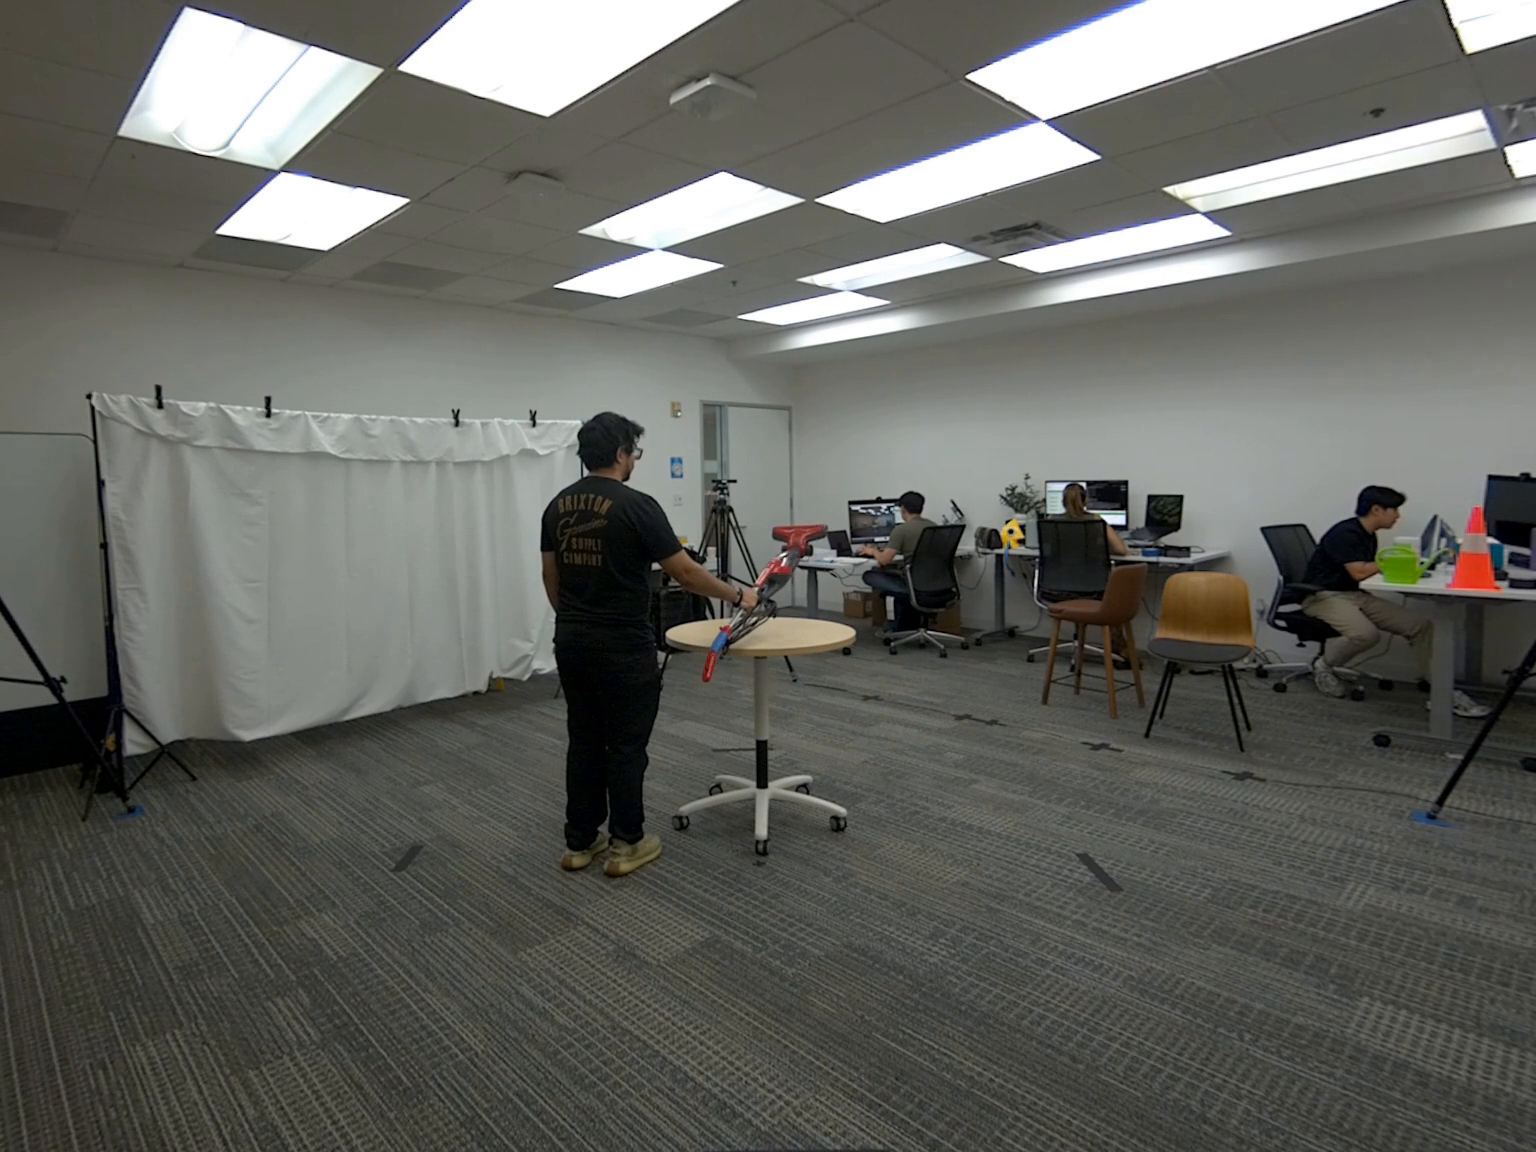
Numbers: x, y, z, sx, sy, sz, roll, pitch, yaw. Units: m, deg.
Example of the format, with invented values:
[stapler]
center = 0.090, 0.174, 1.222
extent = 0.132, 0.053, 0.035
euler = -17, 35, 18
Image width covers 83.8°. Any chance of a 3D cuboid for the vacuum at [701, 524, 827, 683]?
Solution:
[vacuum]
center = -0.032, 0.086, 3.323
extent = 0.258, 0.140, 1.053
euler = -2, 27, 22
